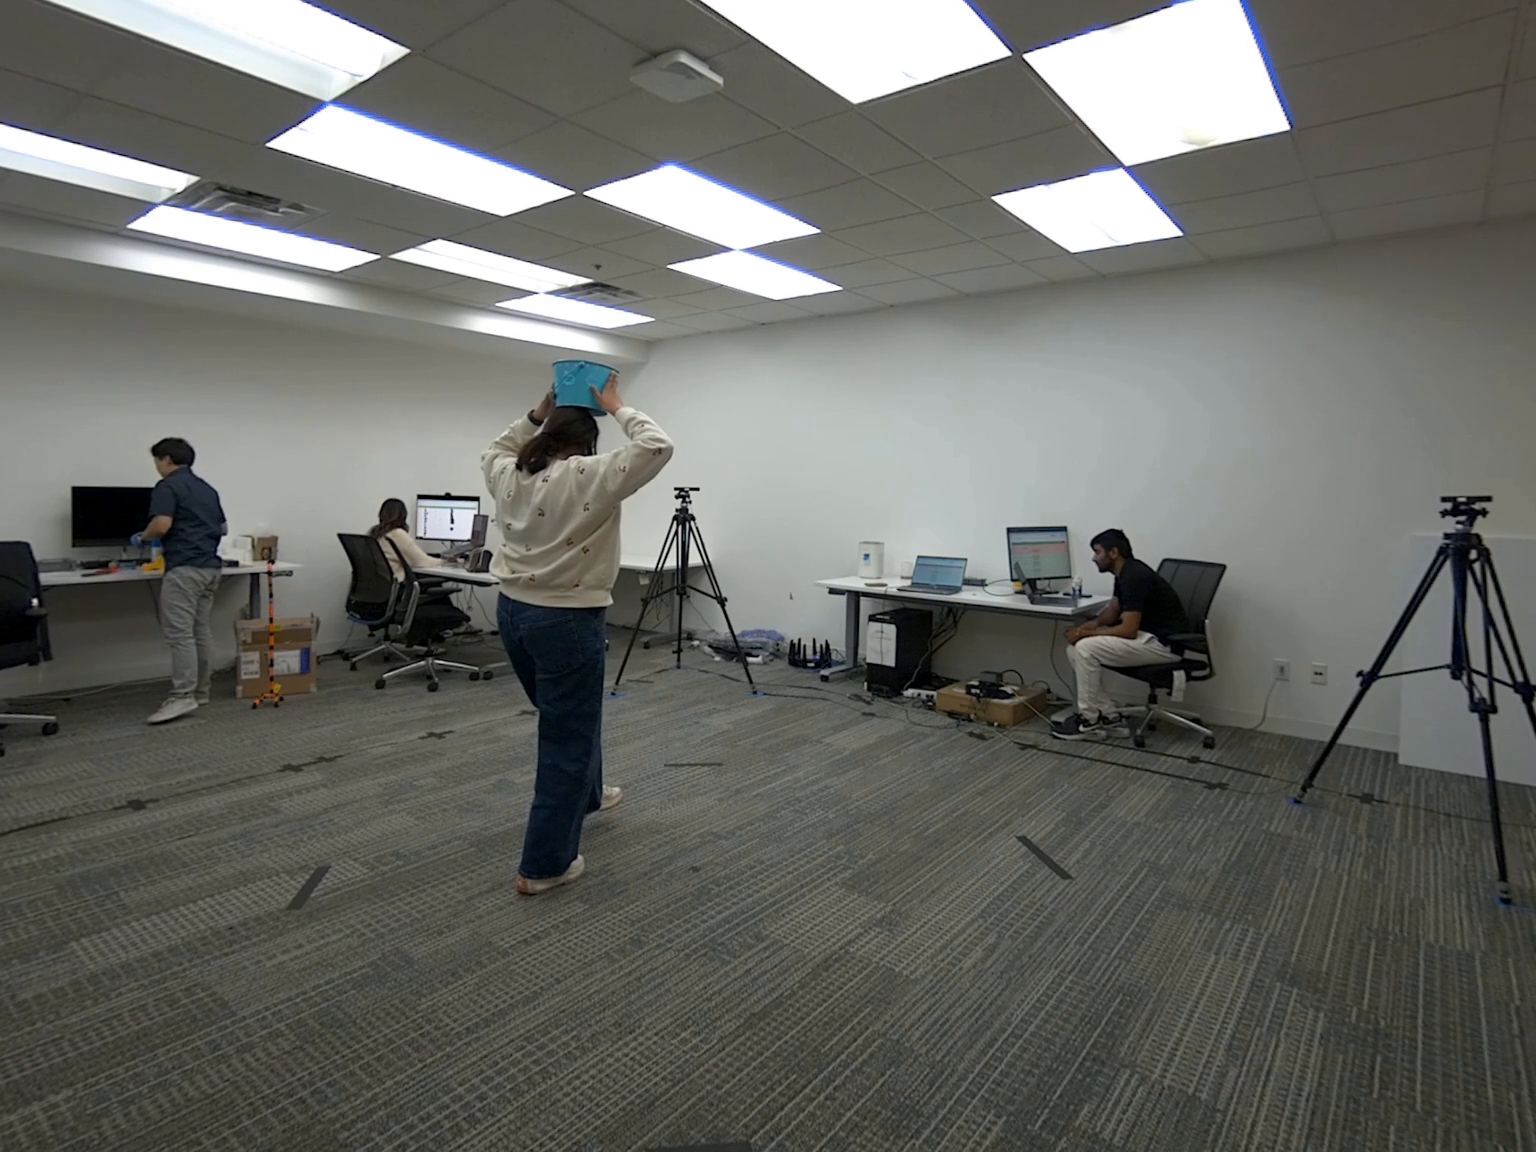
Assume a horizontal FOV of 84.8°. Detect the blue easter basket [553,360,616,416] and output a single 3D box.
[{"bbox_3d":[-0.669,-0.655,2.979,0.243,0.156,0.243,5,-1,-2],"label":"blue easter basket"}]
